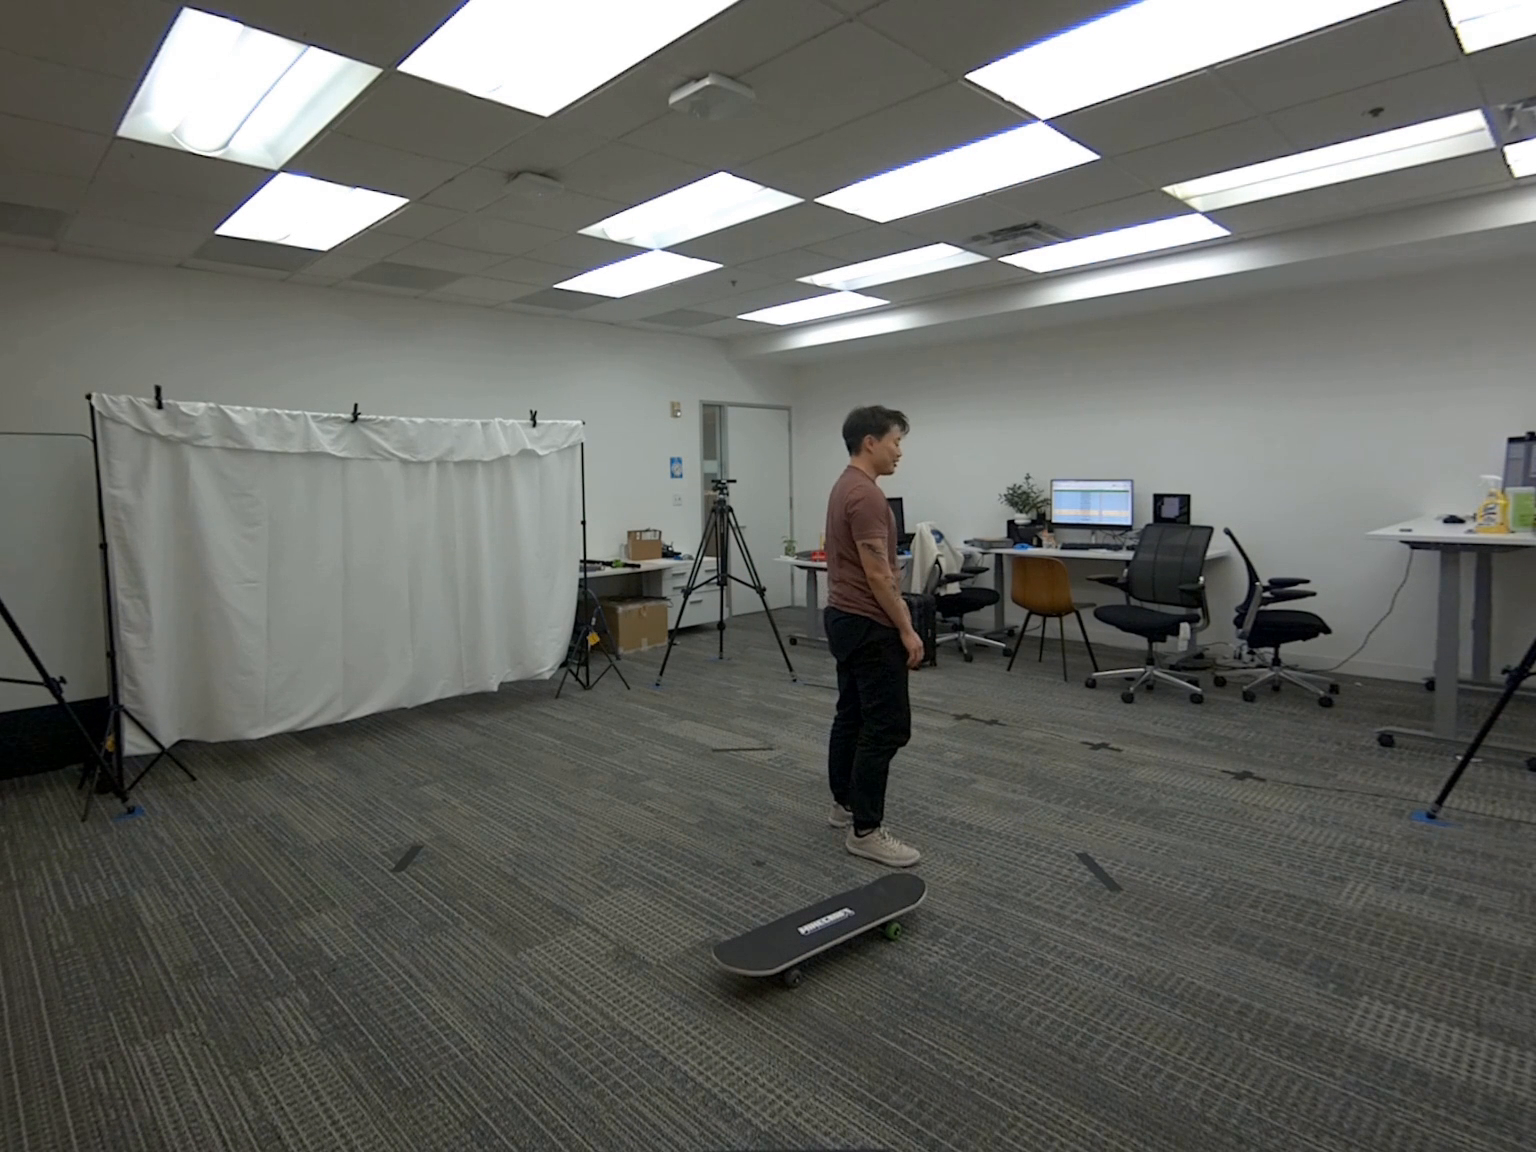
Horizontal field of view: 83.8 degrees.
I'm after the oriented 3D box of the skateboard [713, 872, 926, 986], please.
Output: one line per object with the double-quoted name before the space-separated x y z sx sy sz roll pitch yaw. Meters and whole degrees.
"skateboard" 0.181 1.054 2.531 0.766 0.110 0.199 -6 8 -37
